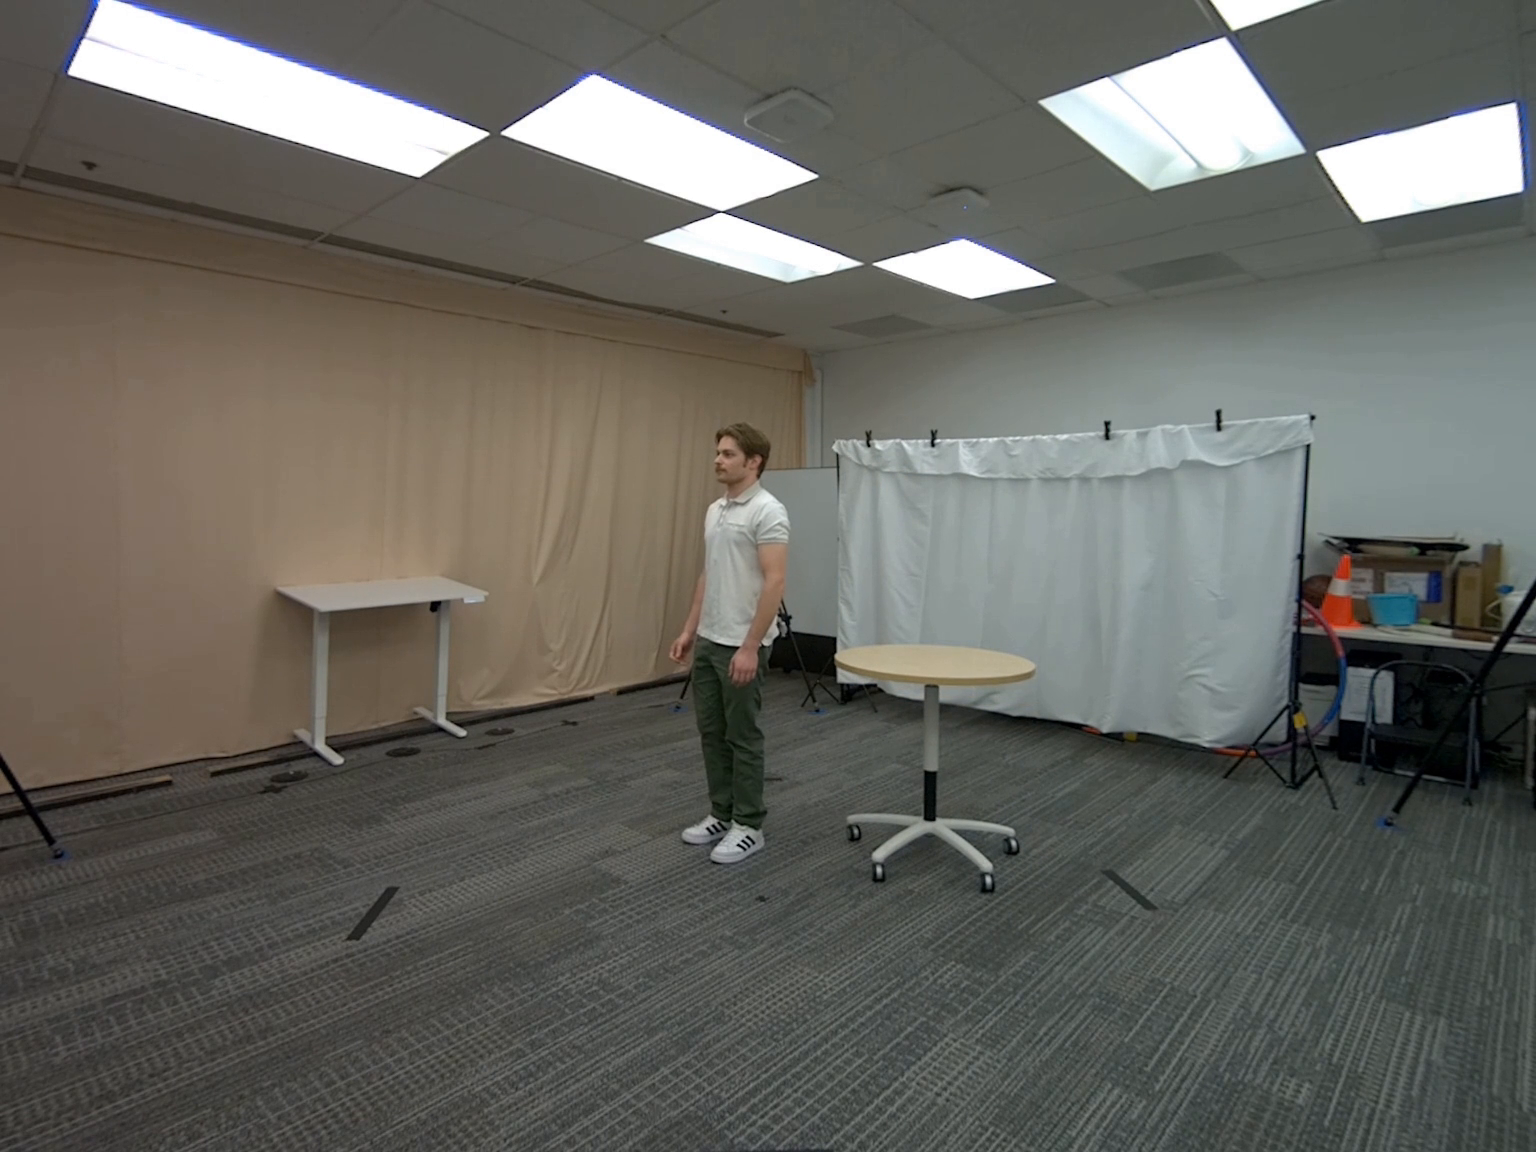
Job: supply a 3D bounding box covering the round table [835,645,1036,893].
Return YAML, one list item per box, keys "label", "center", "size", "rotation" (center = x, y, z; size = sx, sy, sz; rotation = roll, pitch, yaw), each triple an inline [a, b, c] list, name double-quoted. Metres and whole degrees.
- label: "round table"
  center: [0.635, 0.717, 3.349]
  size: [0.784, 0.785, 0.787]
  rotation: [0, 3, -2]
